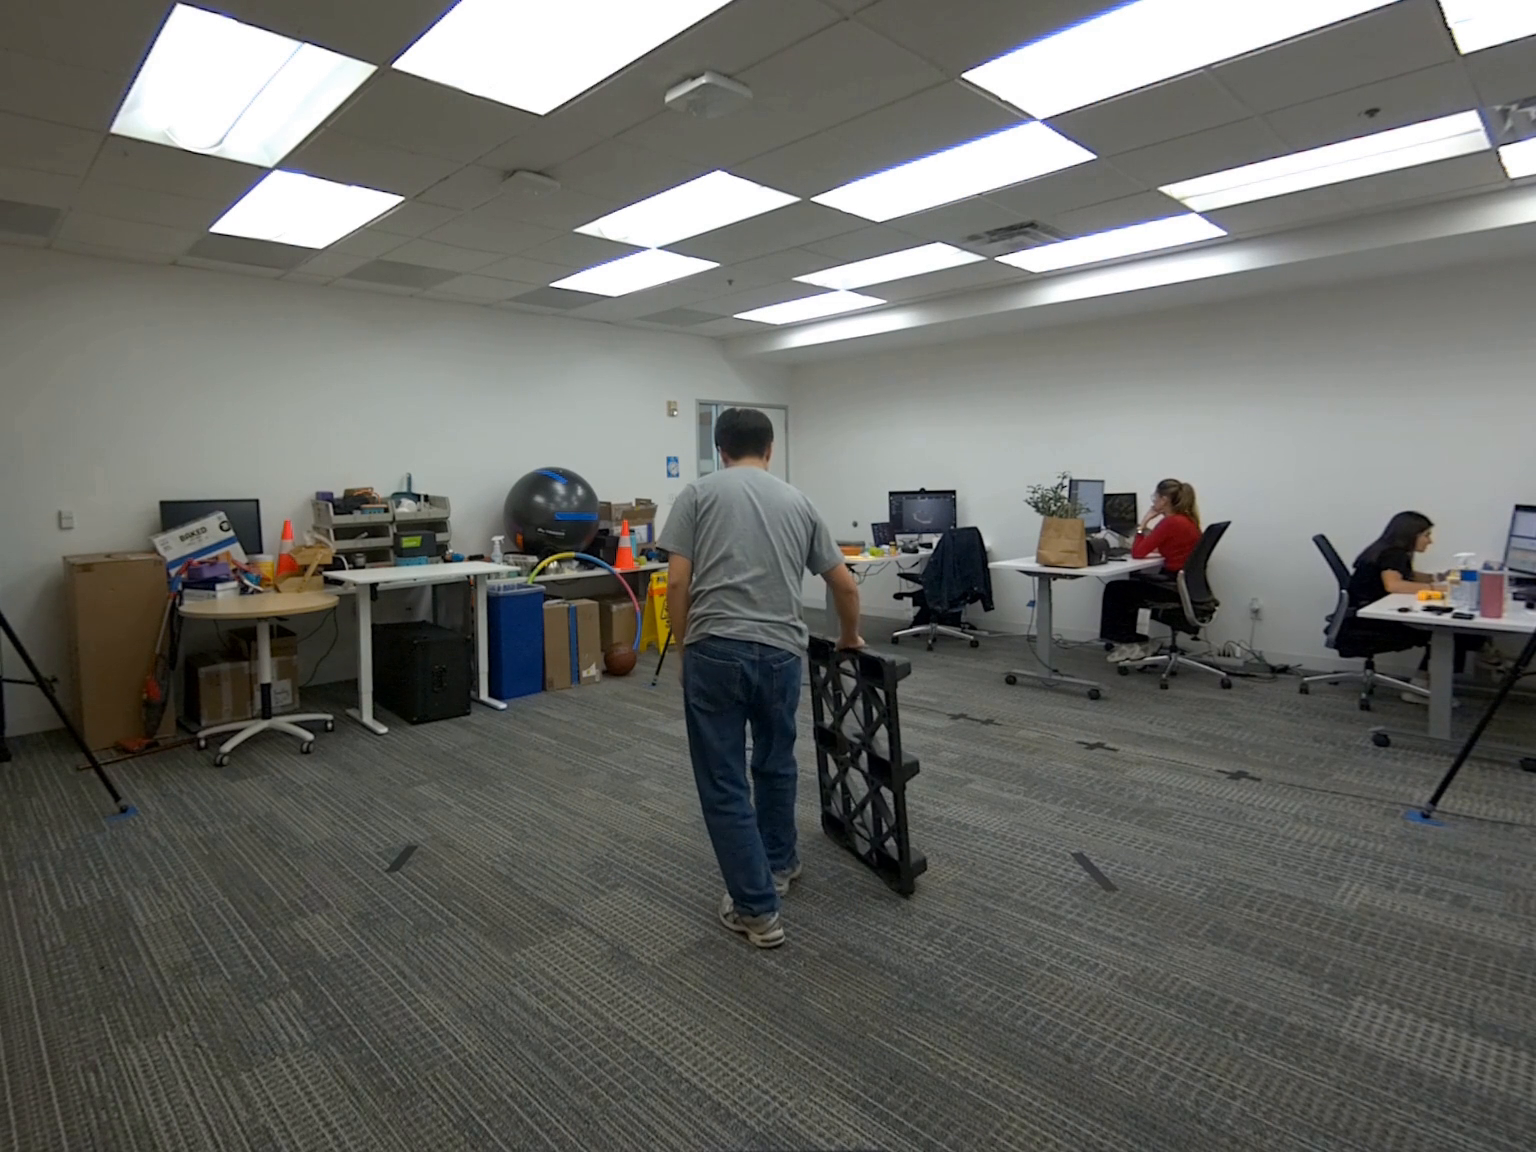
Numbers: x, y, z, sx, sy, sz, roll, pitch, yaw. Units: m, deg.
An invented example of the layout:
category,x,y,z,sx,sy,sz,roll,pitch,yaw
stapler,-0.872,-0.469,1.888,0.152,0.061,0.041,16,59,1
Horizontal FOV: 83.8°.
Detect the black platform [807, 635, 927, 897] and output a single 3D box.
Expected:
category,x,y,z,sx,sy,sz,roll,pitch,yaw
black platform,0.364,0.632,3.080,0.141,0.801,0.619,-6,6,-22
